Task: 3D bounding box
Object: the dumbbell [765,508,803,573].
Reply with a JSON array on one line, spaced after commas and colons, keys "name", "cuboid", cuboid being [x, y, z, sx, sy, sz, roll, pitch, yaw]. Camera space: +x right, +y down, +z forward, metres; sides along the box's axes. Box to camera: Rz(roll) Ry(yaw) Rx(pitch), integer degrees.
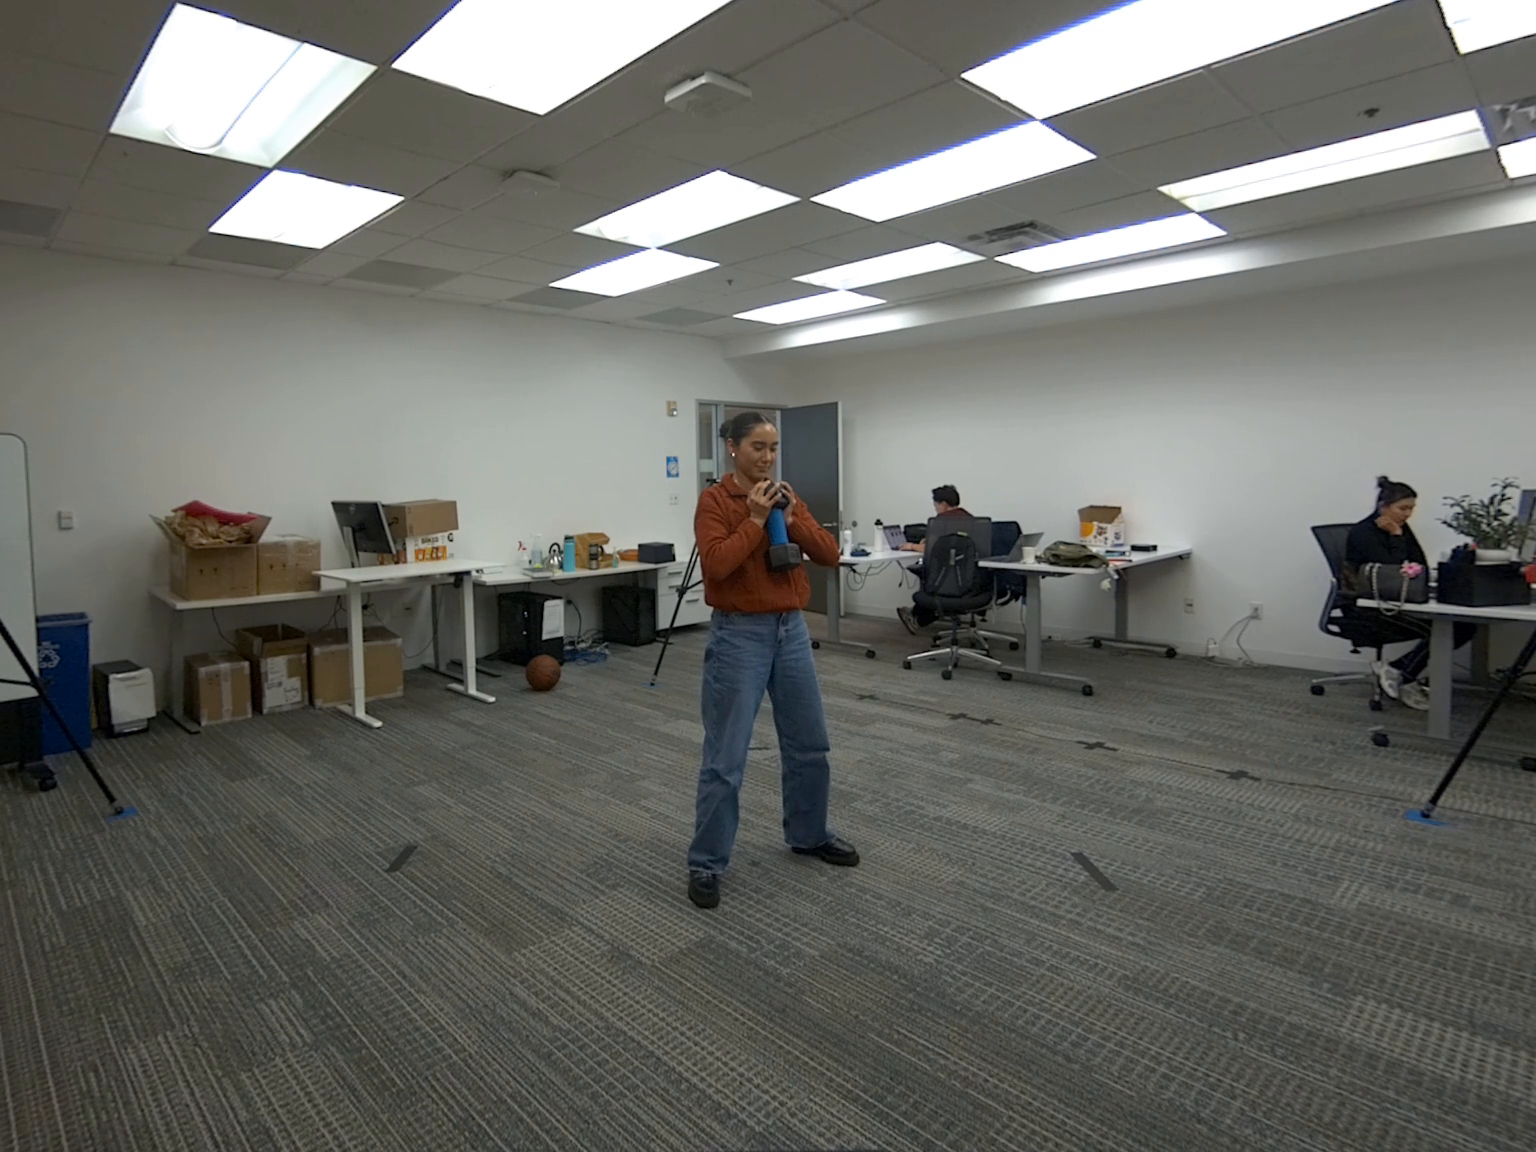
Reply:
[{"name": "dumbbell", "cuboid": [0.013, -0.158, 2.901, 0.110, 0.298, 0.119, -24, -15, 39]}]
